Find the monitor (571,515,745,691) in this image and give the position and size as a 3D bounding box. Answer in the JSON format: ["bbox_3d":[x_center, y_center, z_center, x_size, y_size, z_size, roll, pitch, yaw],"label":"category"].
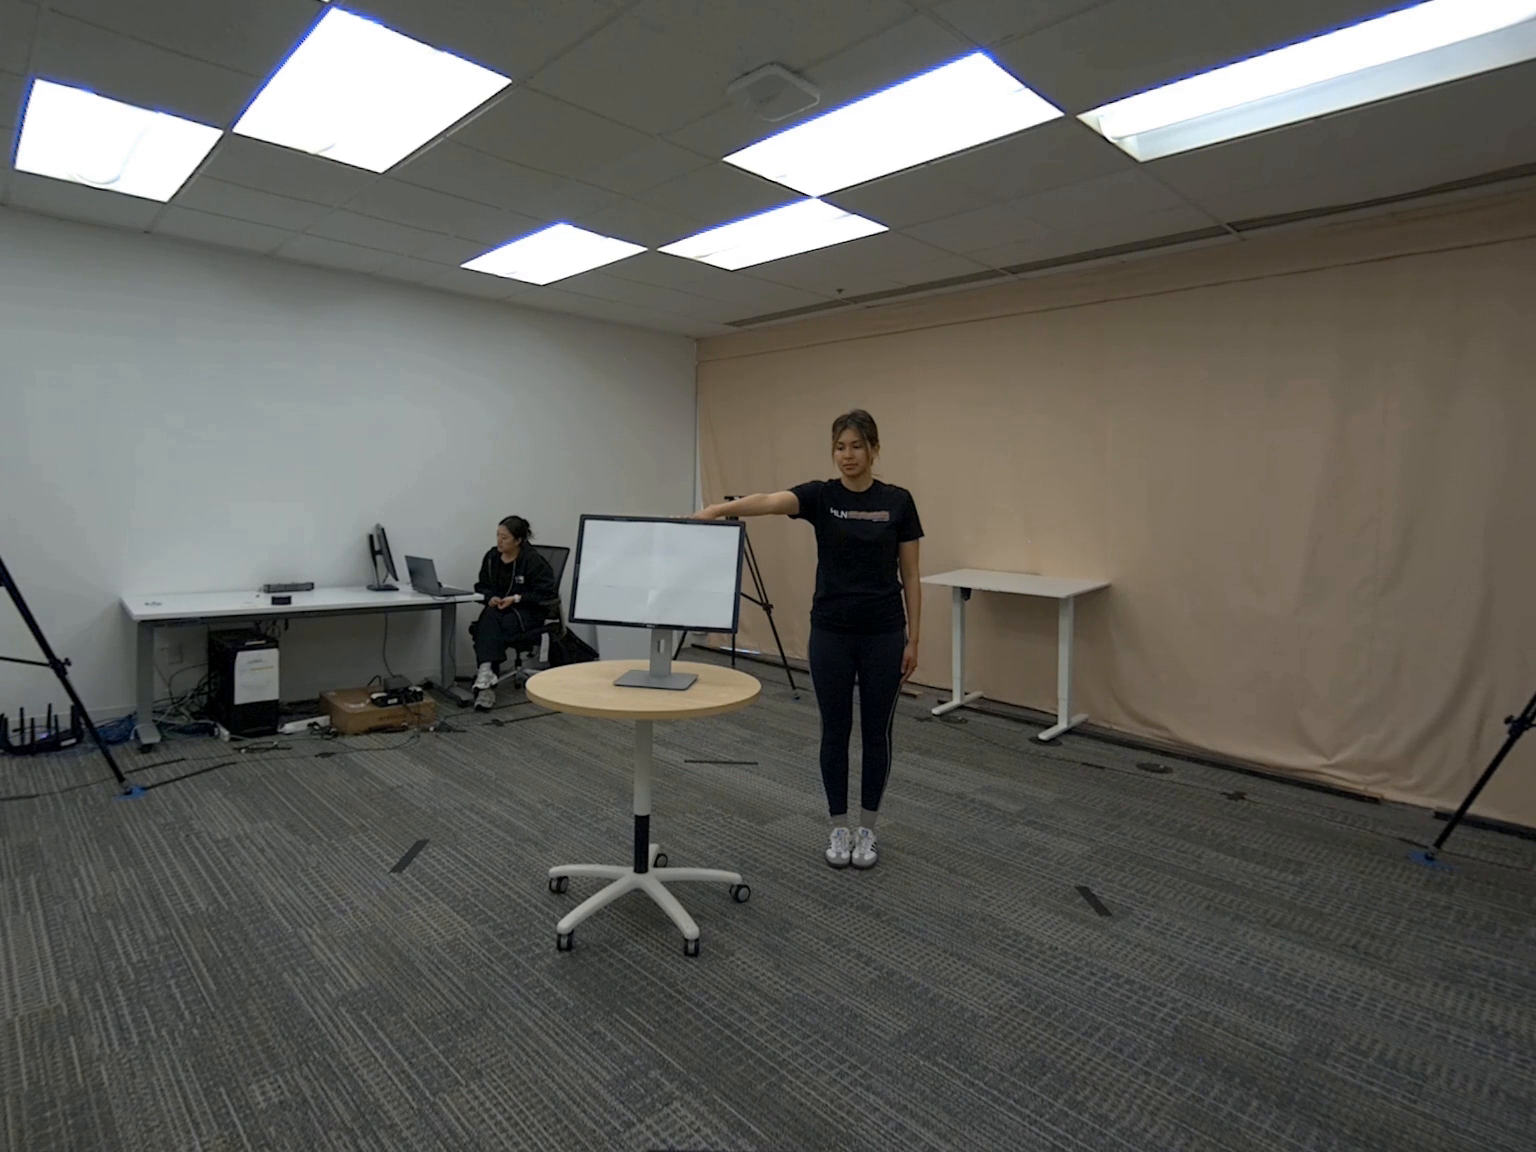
[{"bbox_3d":[-0.358,0.089,2.768,0.543,0.521,0.186,3,3,8],"label":"monitor"}]
